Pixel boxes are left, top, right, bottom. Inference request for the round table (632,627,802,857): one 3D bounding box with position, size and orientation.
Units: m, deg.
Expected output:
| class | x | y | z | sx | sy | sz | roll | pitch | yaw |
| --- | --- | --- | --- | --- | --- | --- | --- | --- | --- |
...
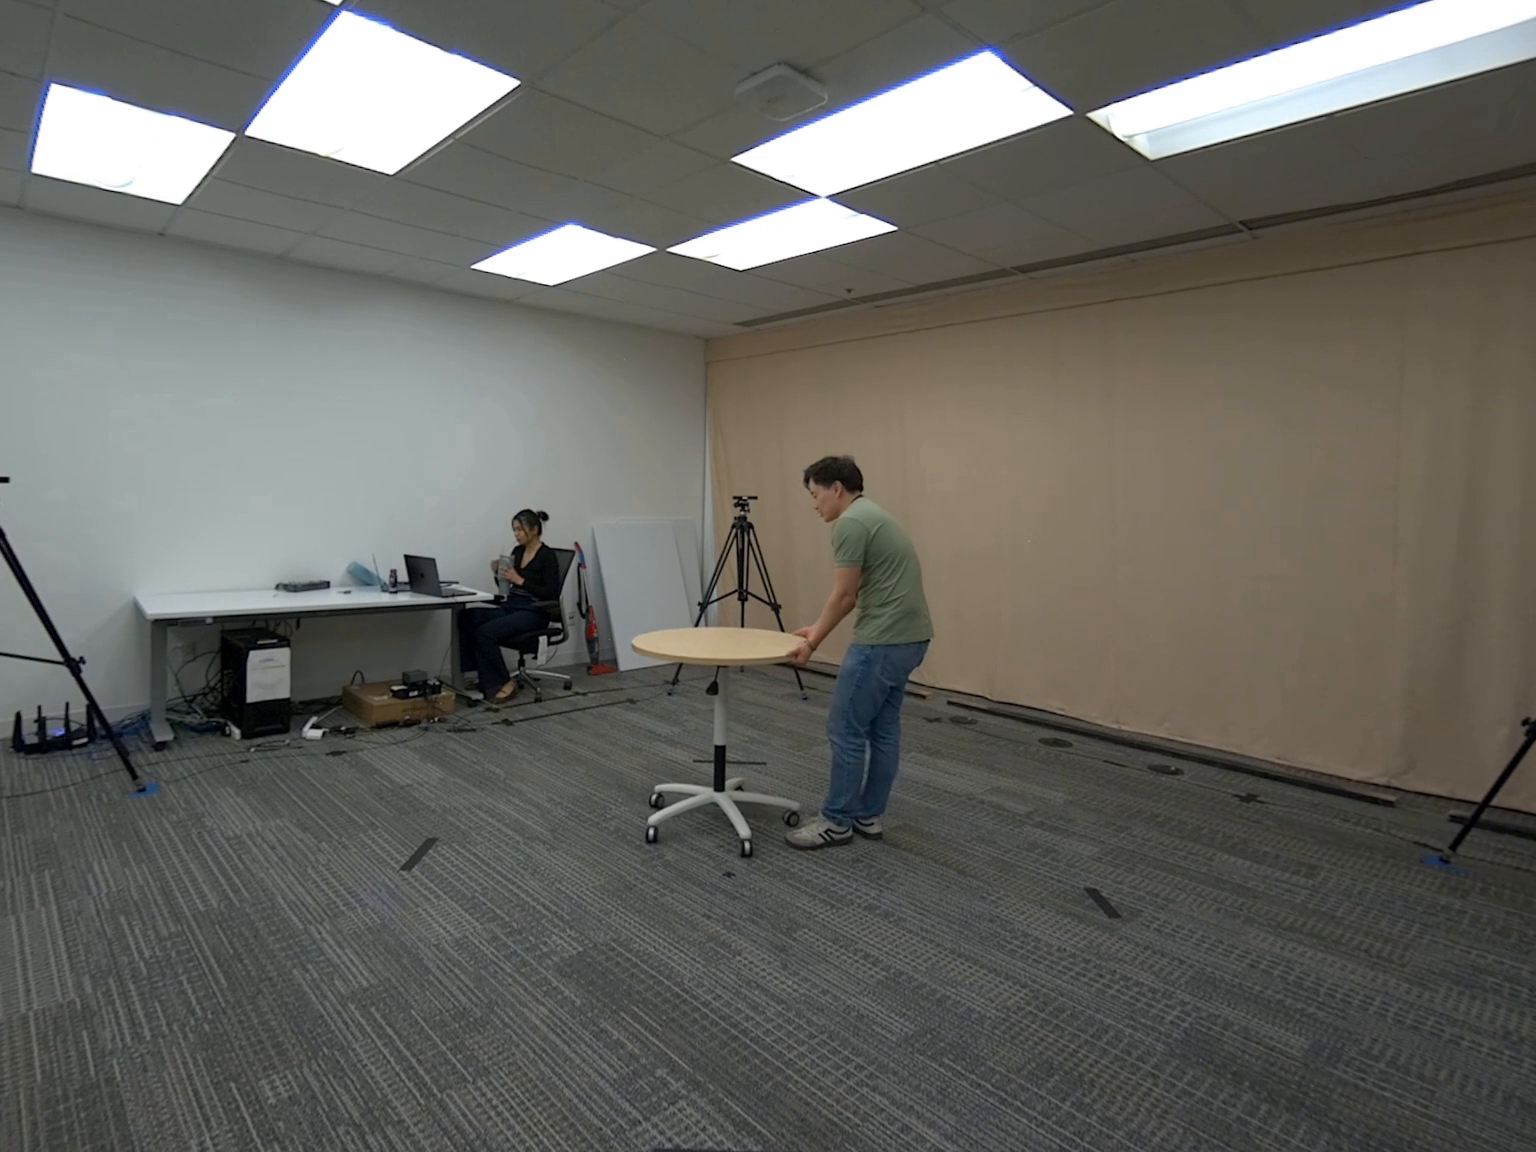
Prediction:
| class | x | y | z | sx | sy | sz | roll | pitch | yaw |
| --- | --- | --- | --- | --- | --- | --- | --- | --- | --- |
| round table | -0.210 | 0.669 | 3.578 | 0.763 | 0.792 | 0.766 | 2 | 4 | -1 |
